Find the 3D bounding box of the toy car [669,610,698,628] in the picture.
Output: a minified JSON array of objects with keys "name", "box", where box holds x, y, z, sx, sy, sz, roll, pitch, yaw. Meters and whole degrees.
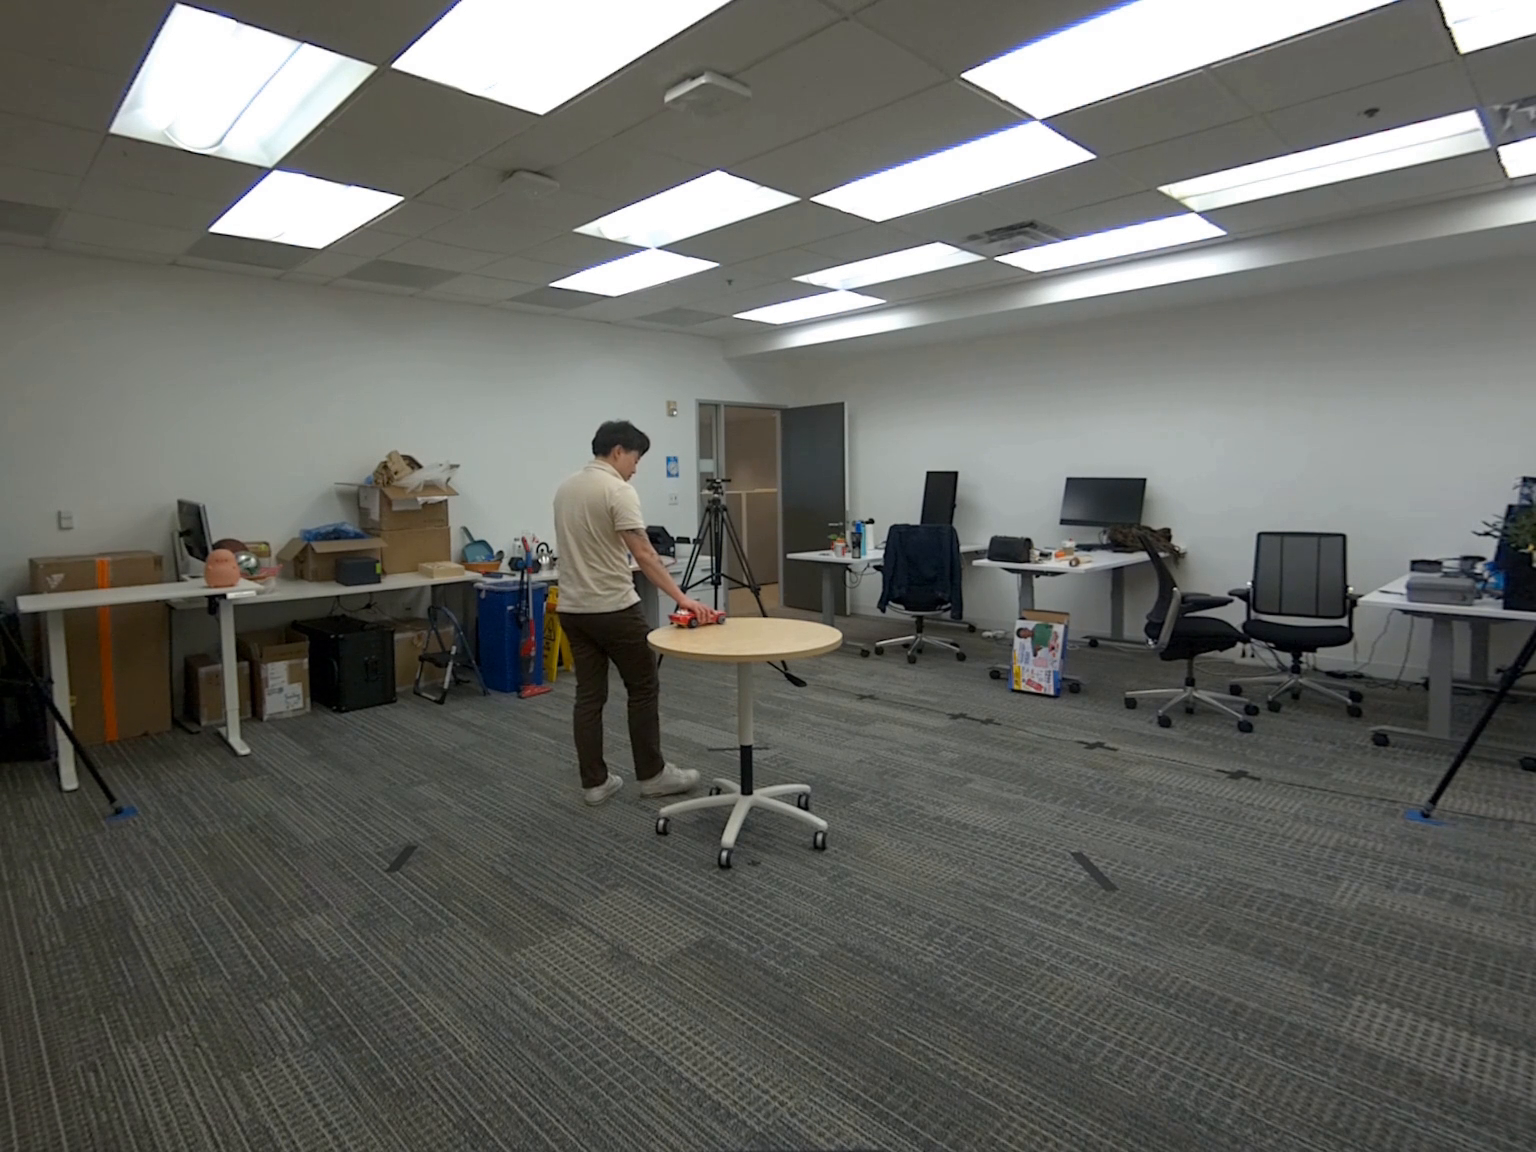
[{"name":"toy car","box":[-0.298,0.177,3.589,0.246,0.083,0.134,9,-1,-38]}]
